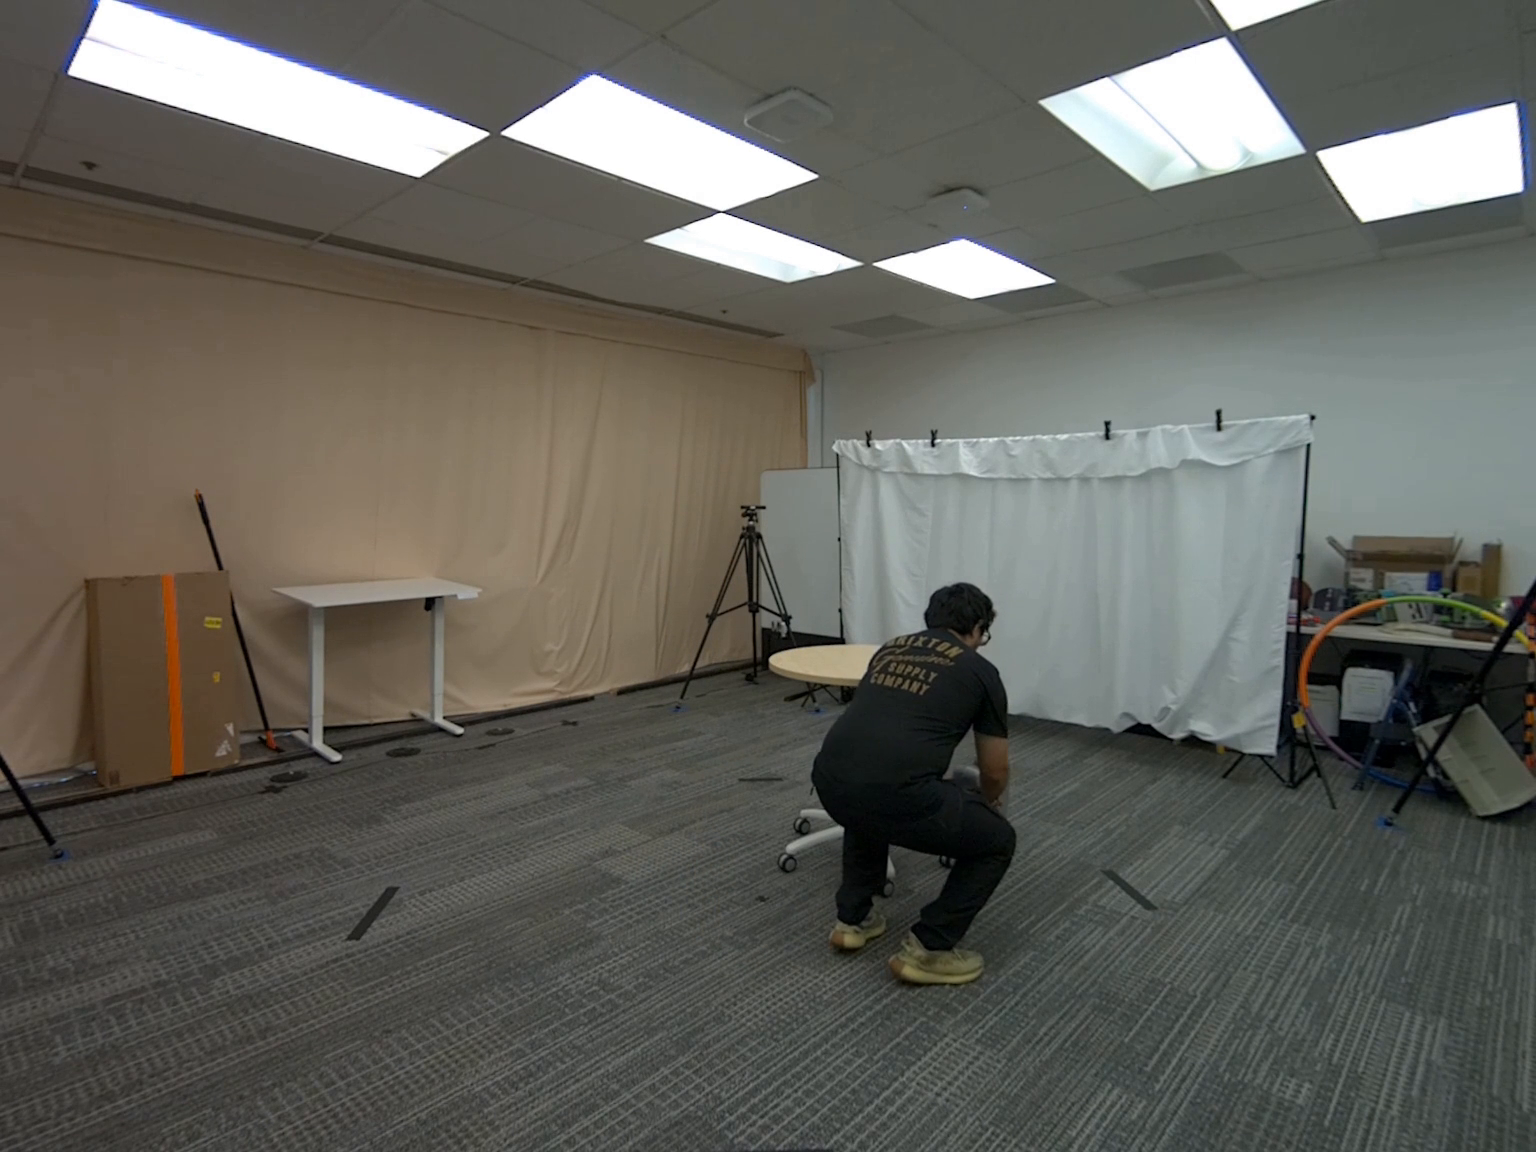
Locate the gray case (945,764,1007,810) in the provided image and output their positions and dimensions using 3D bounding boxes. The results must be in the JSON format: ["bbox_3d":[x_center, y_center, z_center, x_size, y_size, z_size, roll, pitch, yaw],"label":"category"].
[{"bbox_3d":[0.753,0.776,2.914,0.248,0.260,0.108,3,2,-43],"label":"gray case"}]
